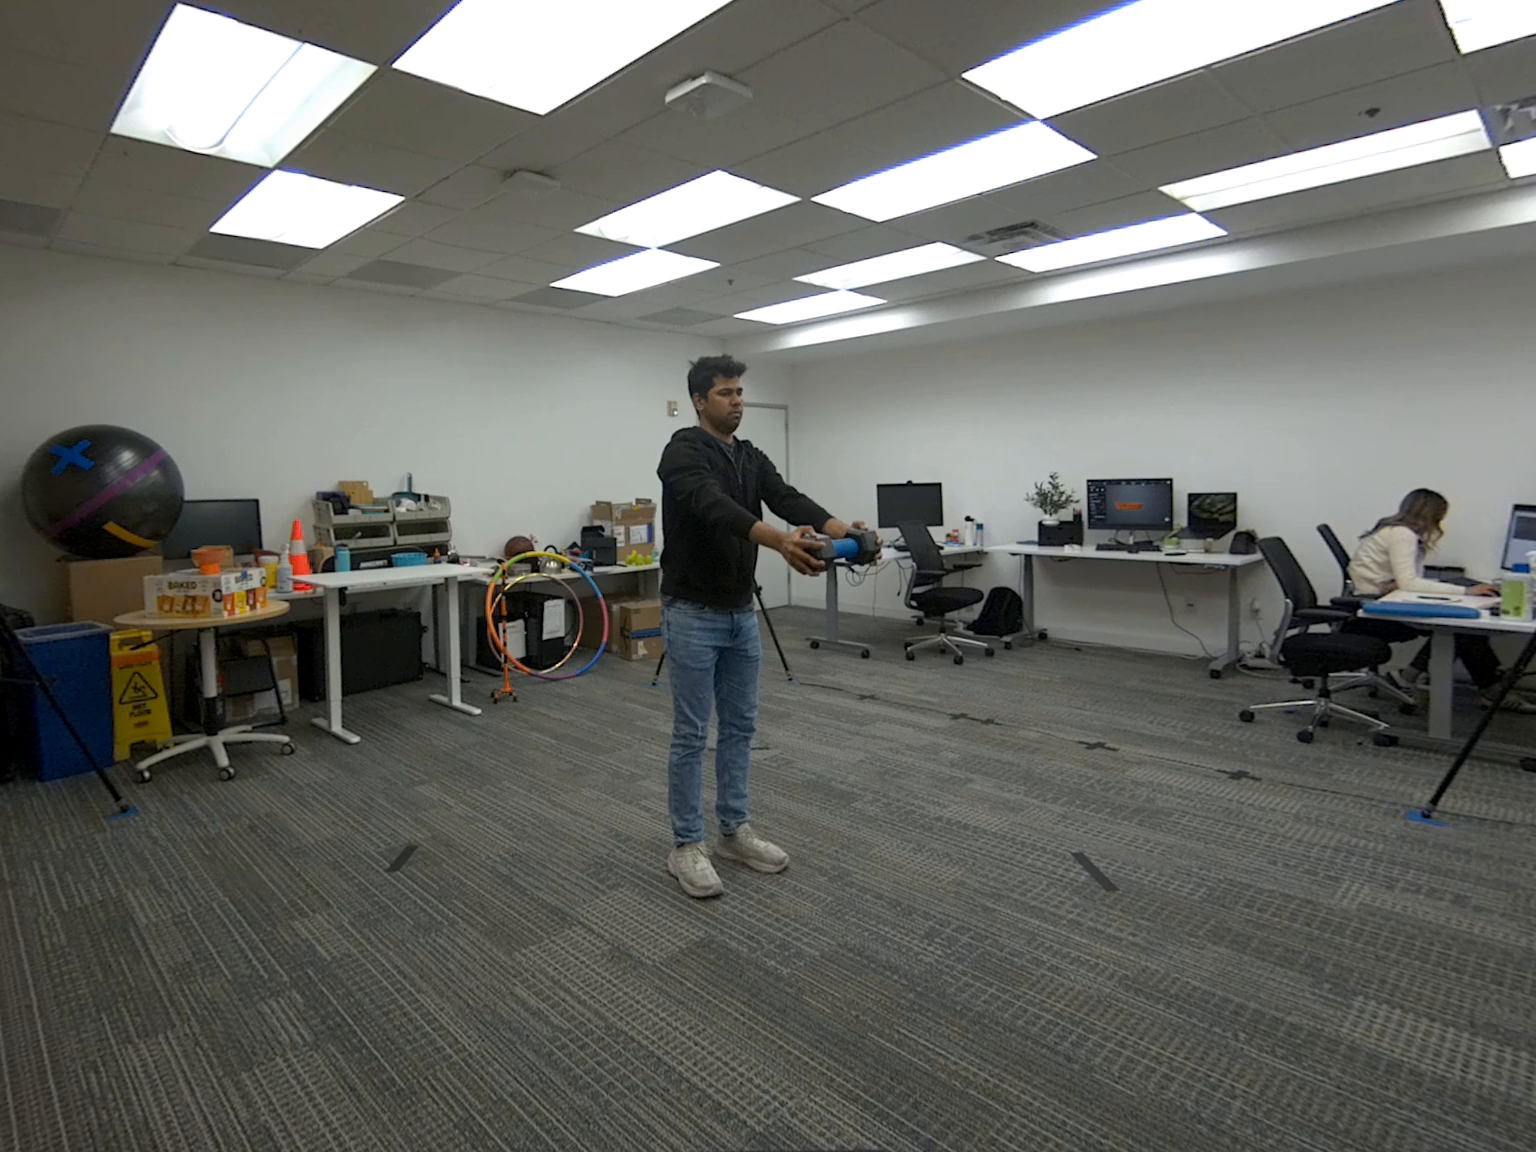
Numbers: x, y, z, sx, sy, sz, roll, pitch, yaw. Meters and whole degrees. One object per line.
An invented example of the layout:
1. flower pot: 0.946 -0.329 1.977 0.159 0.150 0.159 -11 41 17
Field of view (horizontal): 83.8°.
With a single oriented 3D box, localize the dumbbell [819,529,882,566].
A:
1. dumbbell: 0.221 -0.093 2.636 0.286 0.121 0.113 -9 46 -41
